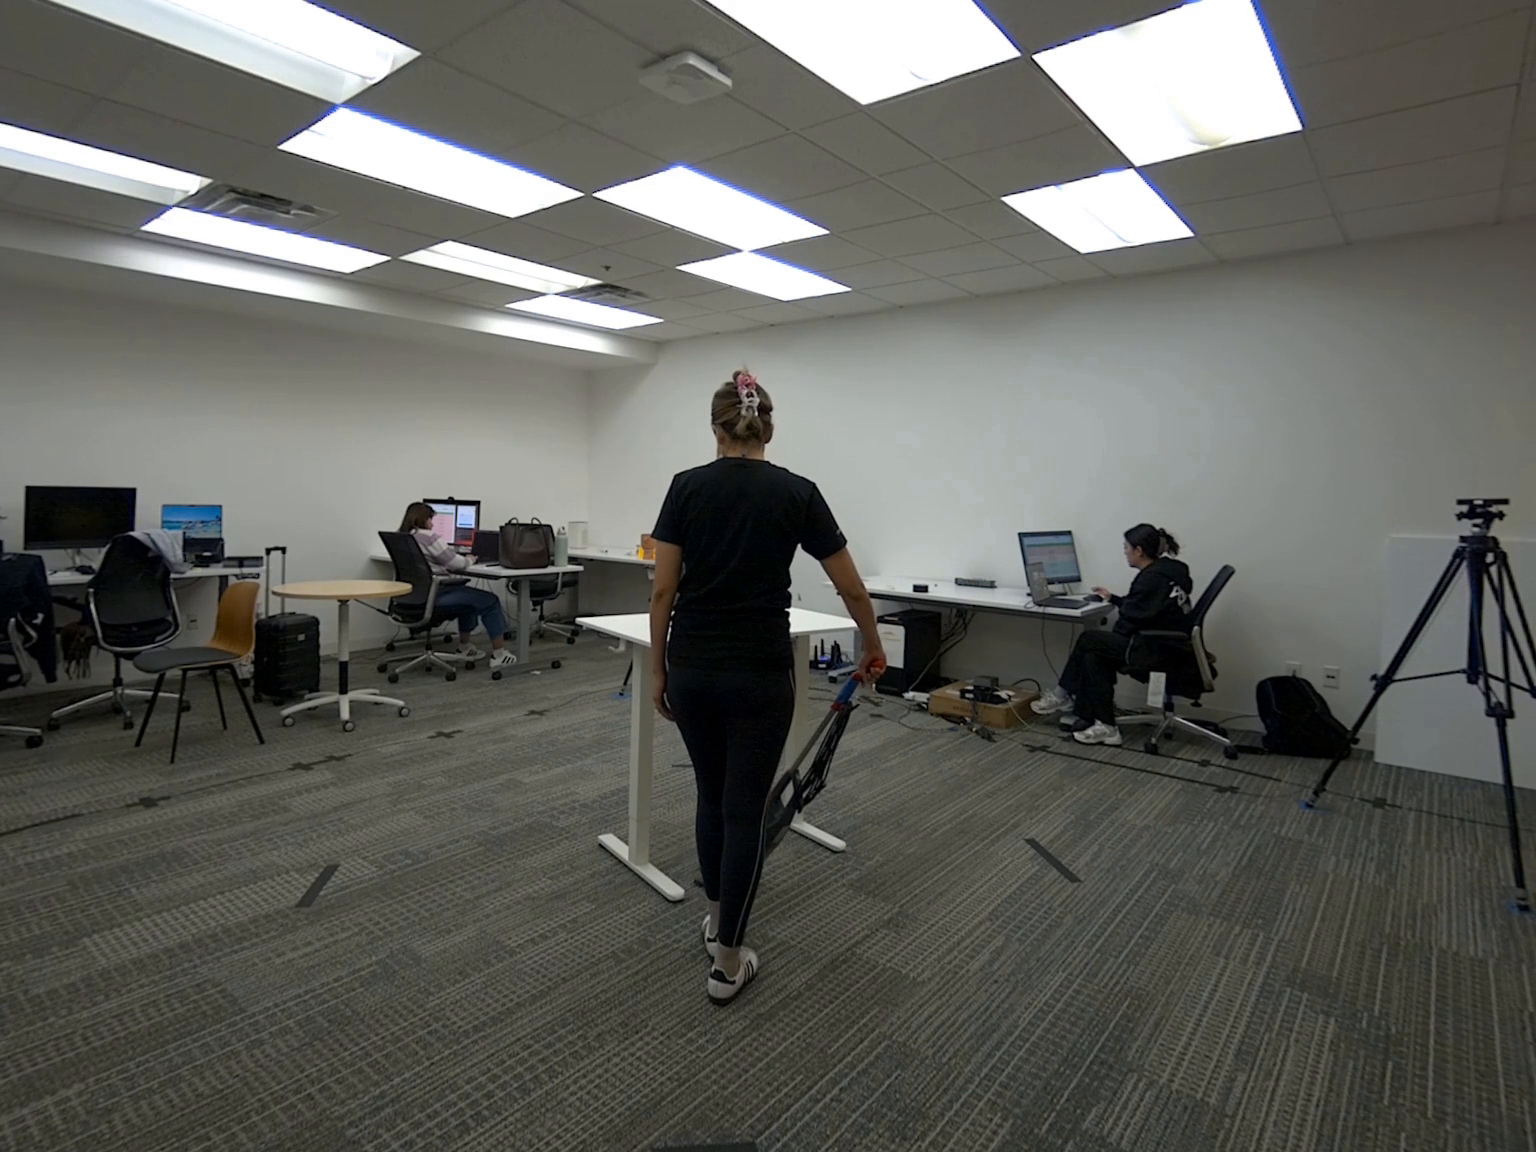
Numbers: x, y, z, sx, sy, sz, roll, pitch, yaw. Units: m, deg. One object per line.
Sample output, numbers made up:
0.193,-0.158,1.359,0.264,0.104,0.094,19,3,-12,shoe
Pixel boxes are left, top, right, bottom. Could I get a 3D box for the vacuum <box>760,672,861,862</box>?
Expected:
0.089,0.670,2.786,0.245,1.040,0.150,-2,42,-43,vacuum
